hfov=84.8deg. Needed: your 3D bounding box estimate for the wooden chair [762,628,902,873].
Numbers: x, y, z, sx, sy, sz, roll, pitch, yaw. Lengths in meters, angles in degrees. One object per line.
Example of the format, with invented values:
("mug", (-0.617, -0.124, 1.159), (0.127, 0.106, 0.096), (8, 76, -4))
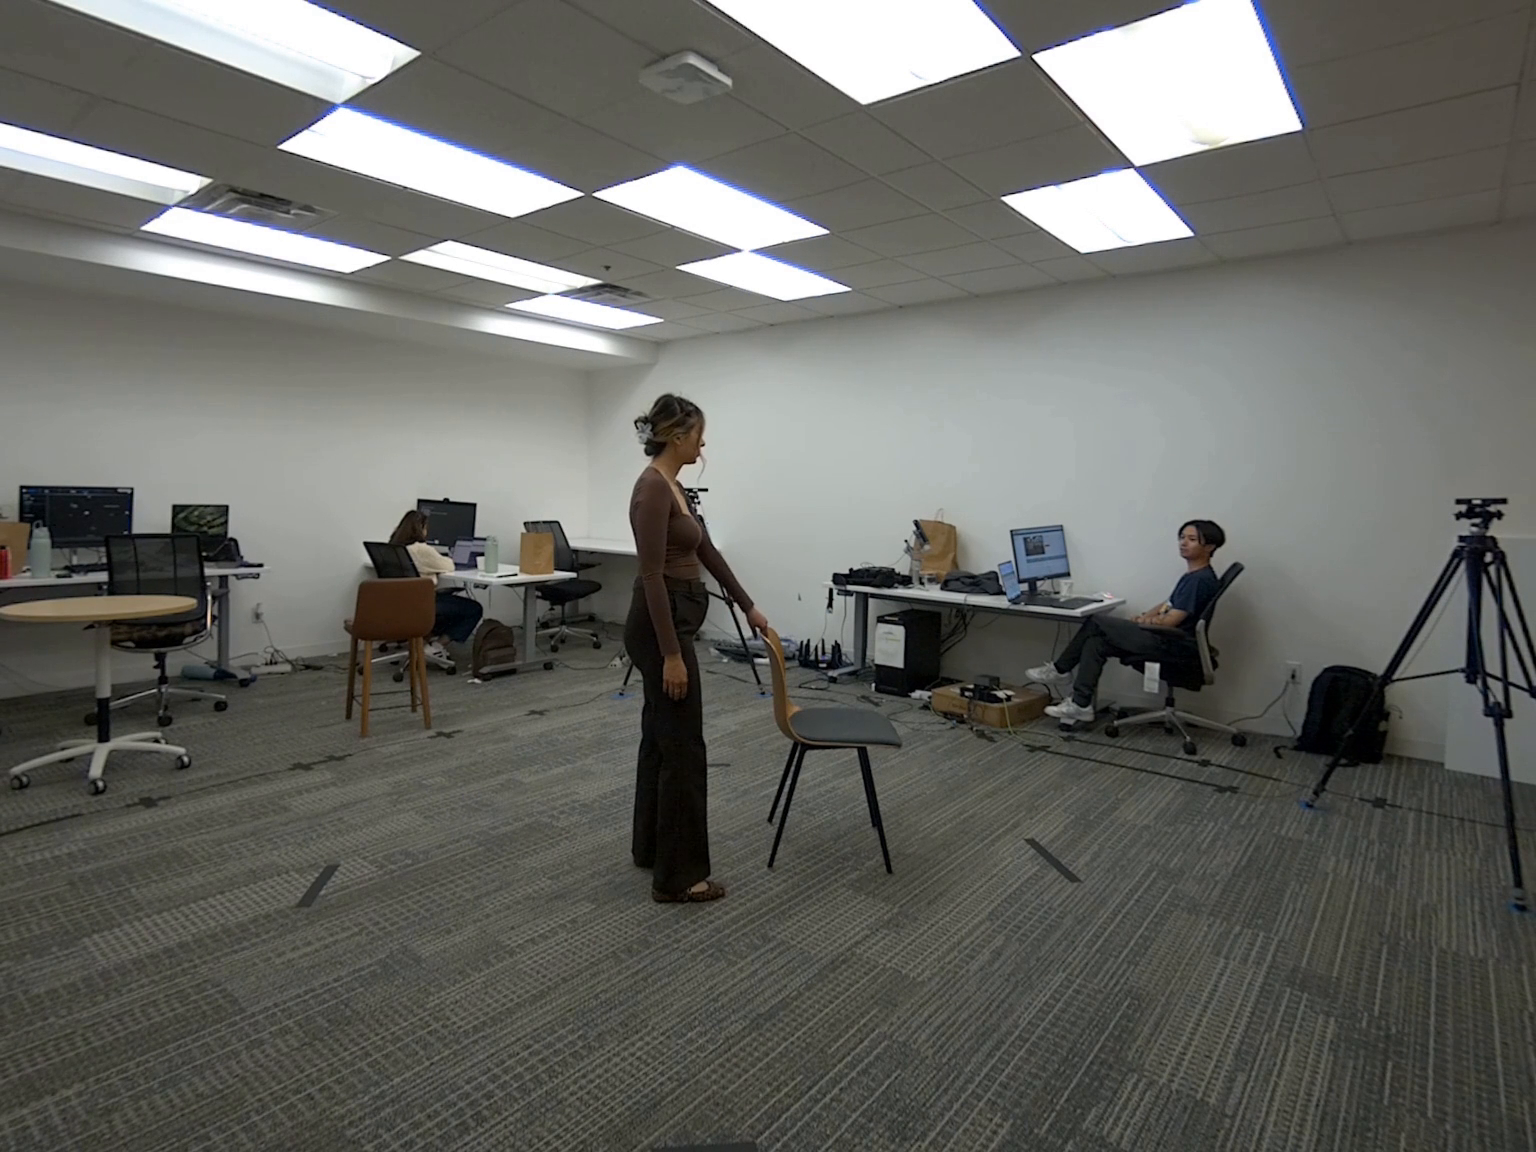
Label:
("wooden chair", (0.235, 0.631, 3.313), (0.525, 0.875, 0.478), (-3, 3, 2))
